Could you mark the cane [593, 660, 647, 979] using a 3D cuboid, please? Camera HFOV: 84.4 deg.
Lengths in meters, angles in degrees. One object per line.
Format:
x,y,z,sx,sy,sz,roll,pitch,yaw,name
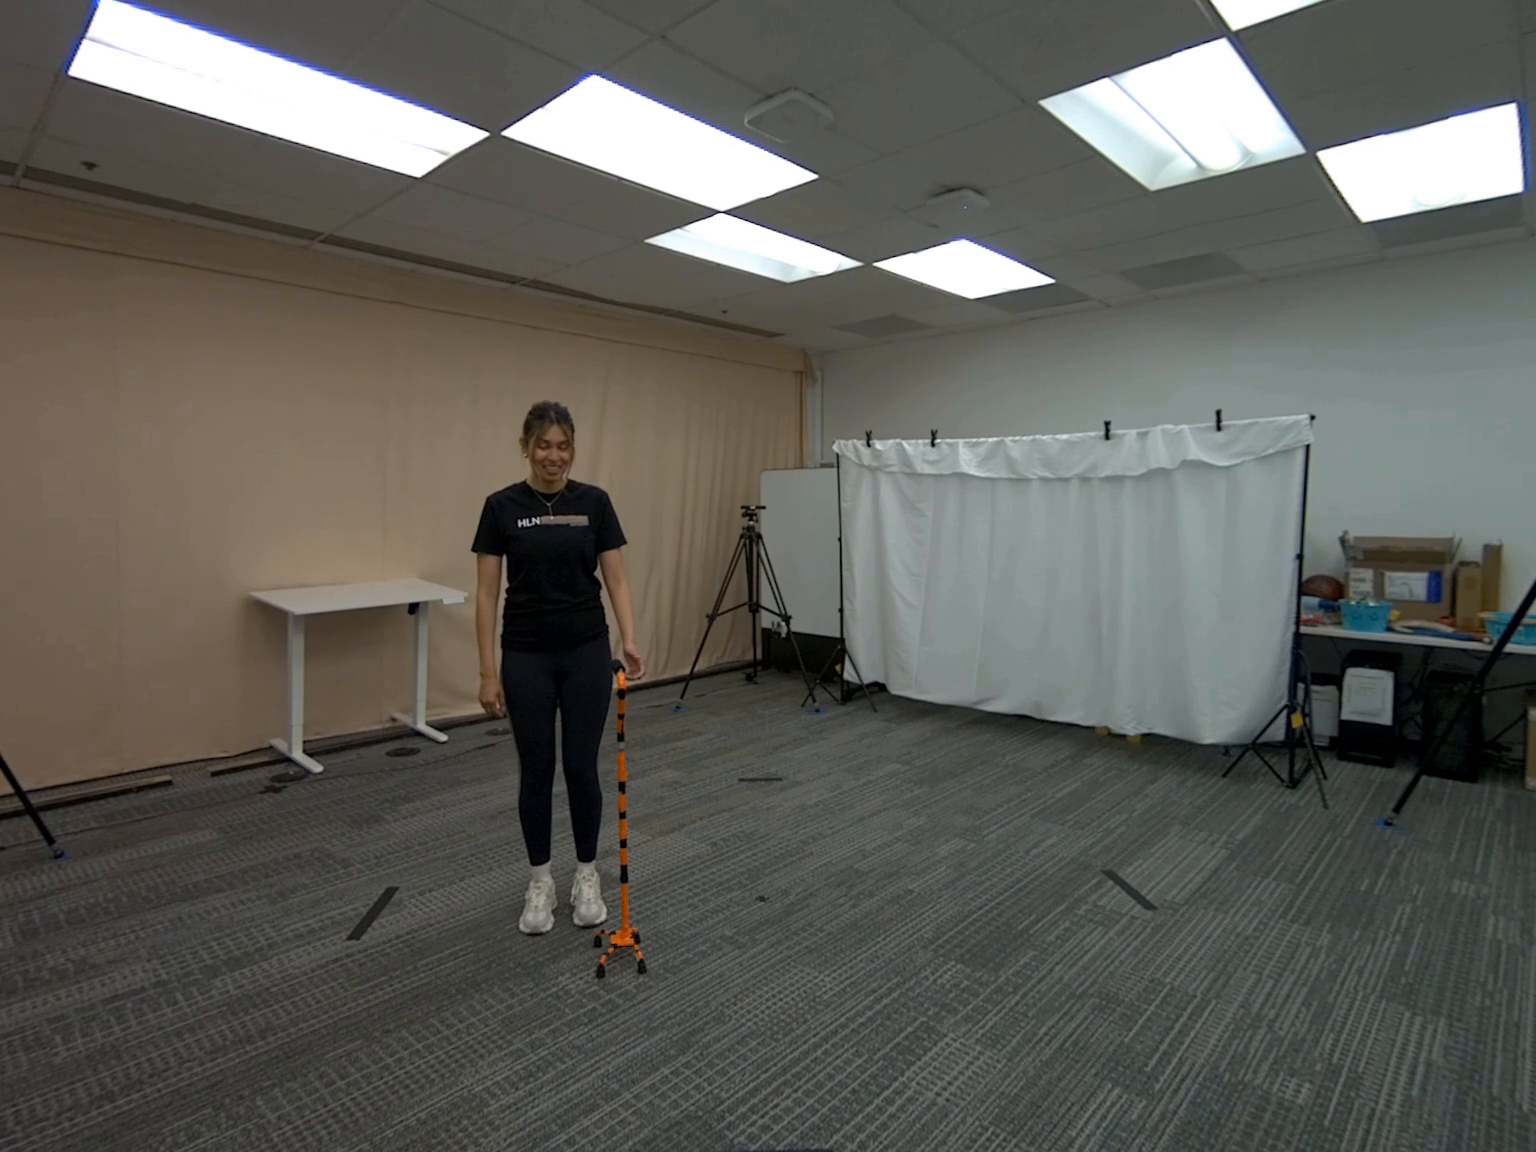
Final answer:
-0.461,0.729,2.569,0.149,0.907,0.210,-1,2,-14,cane
